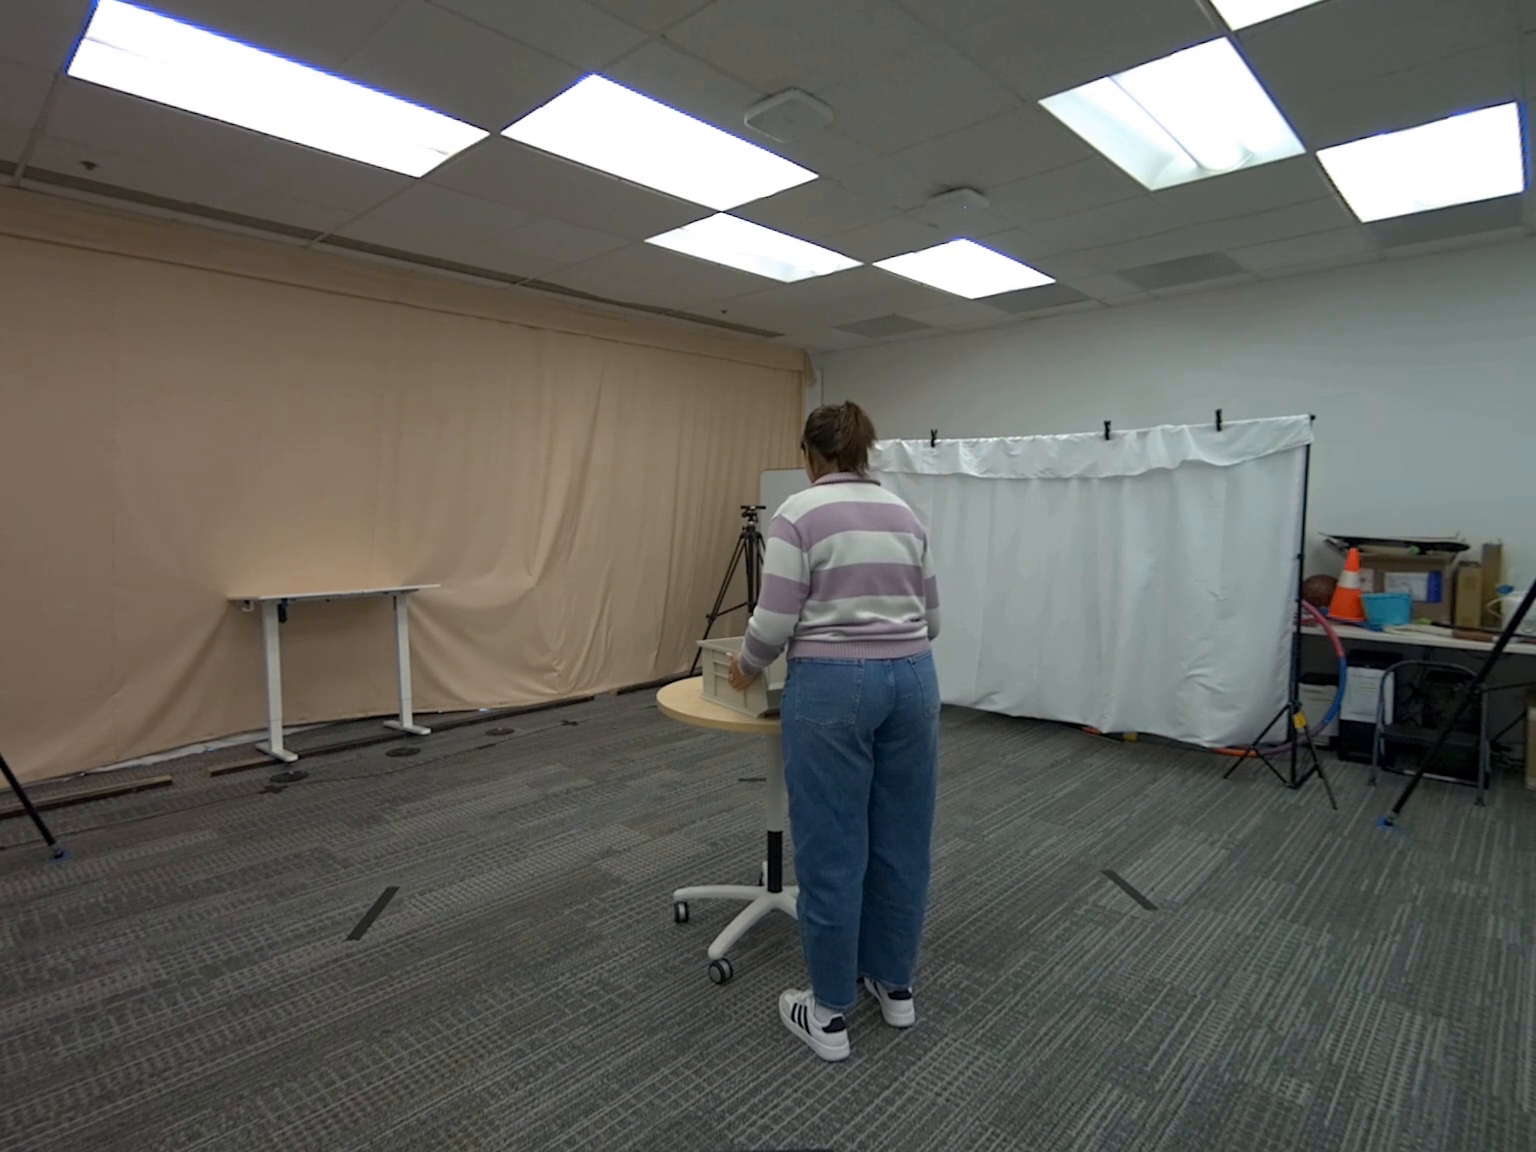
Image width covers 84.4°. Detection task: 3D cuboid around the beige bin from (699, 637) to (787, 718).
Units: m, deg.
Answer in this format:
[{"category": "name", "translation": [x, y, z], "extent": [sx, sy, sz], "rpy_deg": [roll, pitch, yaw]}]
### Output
[{"category": "beige bin", "translation": [0.057, 0.300, 2.612], "extent": [0.410, 0.188, 0.389], "rpy_deg": [-4, 4, -33]}]
